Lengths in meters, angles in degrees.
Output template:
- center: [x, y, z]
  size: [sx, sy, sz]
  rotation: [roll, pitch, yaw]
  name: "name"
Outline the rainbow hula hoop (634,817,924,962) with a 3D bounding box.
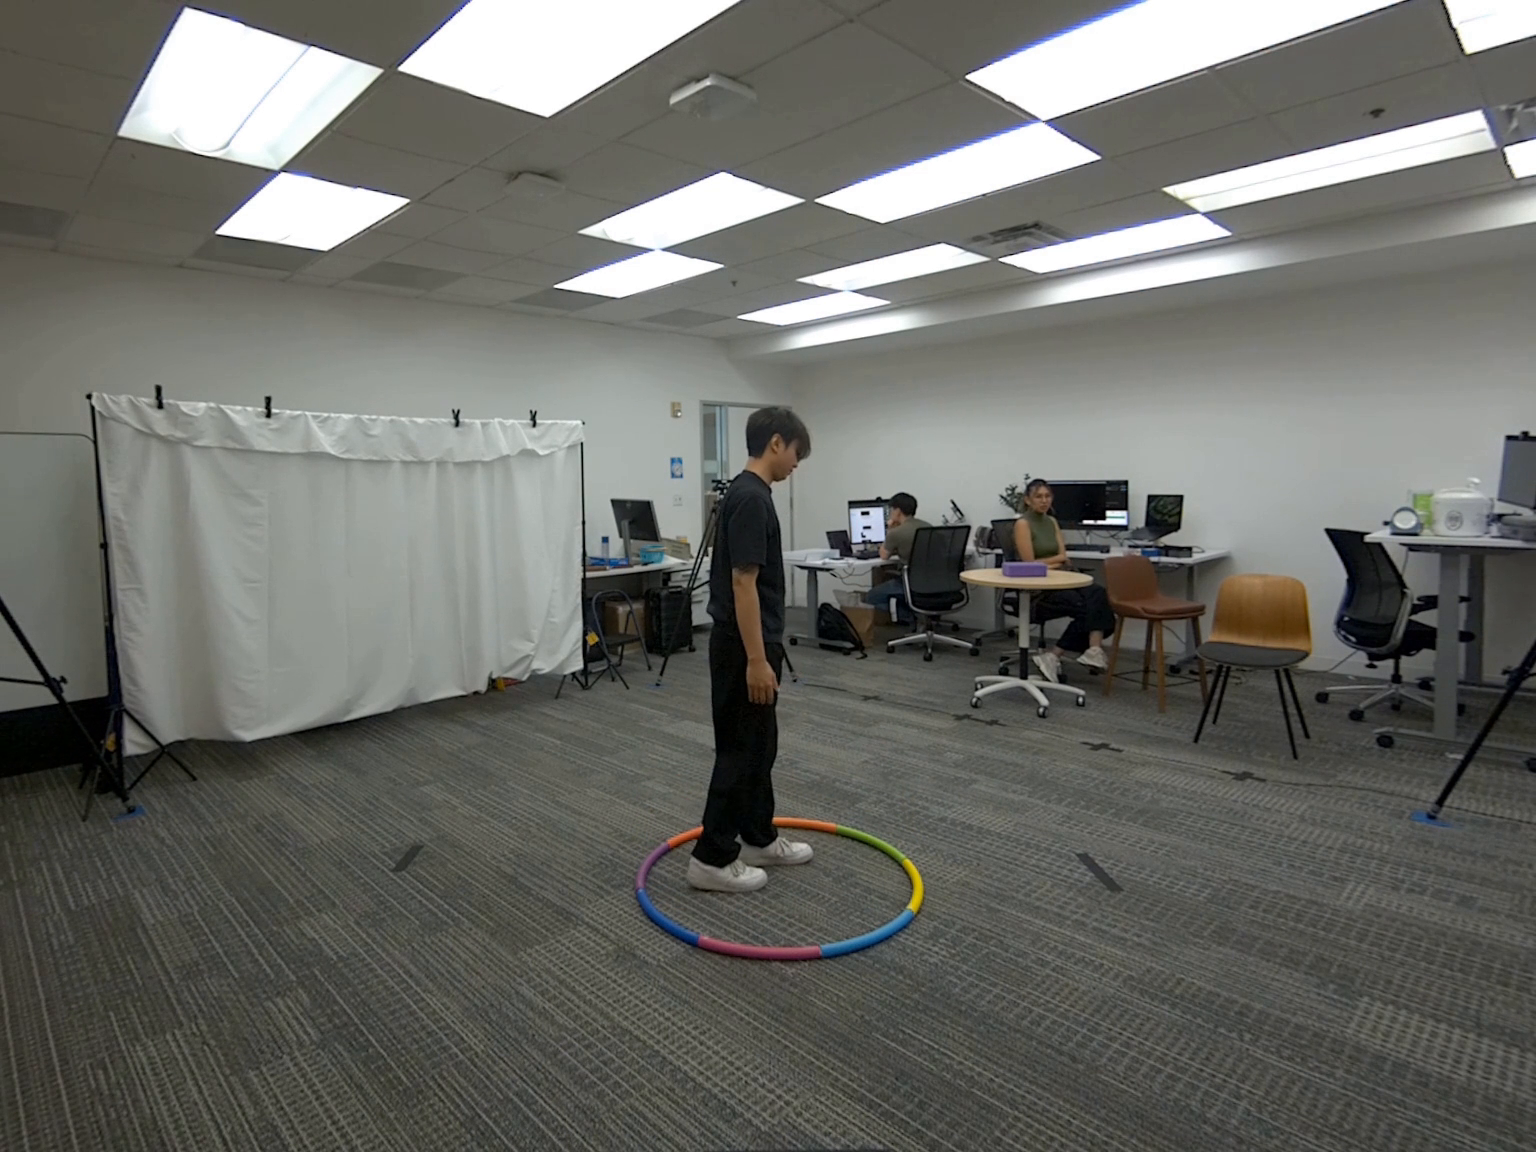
- center: [0.031, 1.033, 2.968]
  size: [0.978, 0.035, 0.984]
  rotation: [-1, 6, -2]
  name: "rainbow hula hoop"
